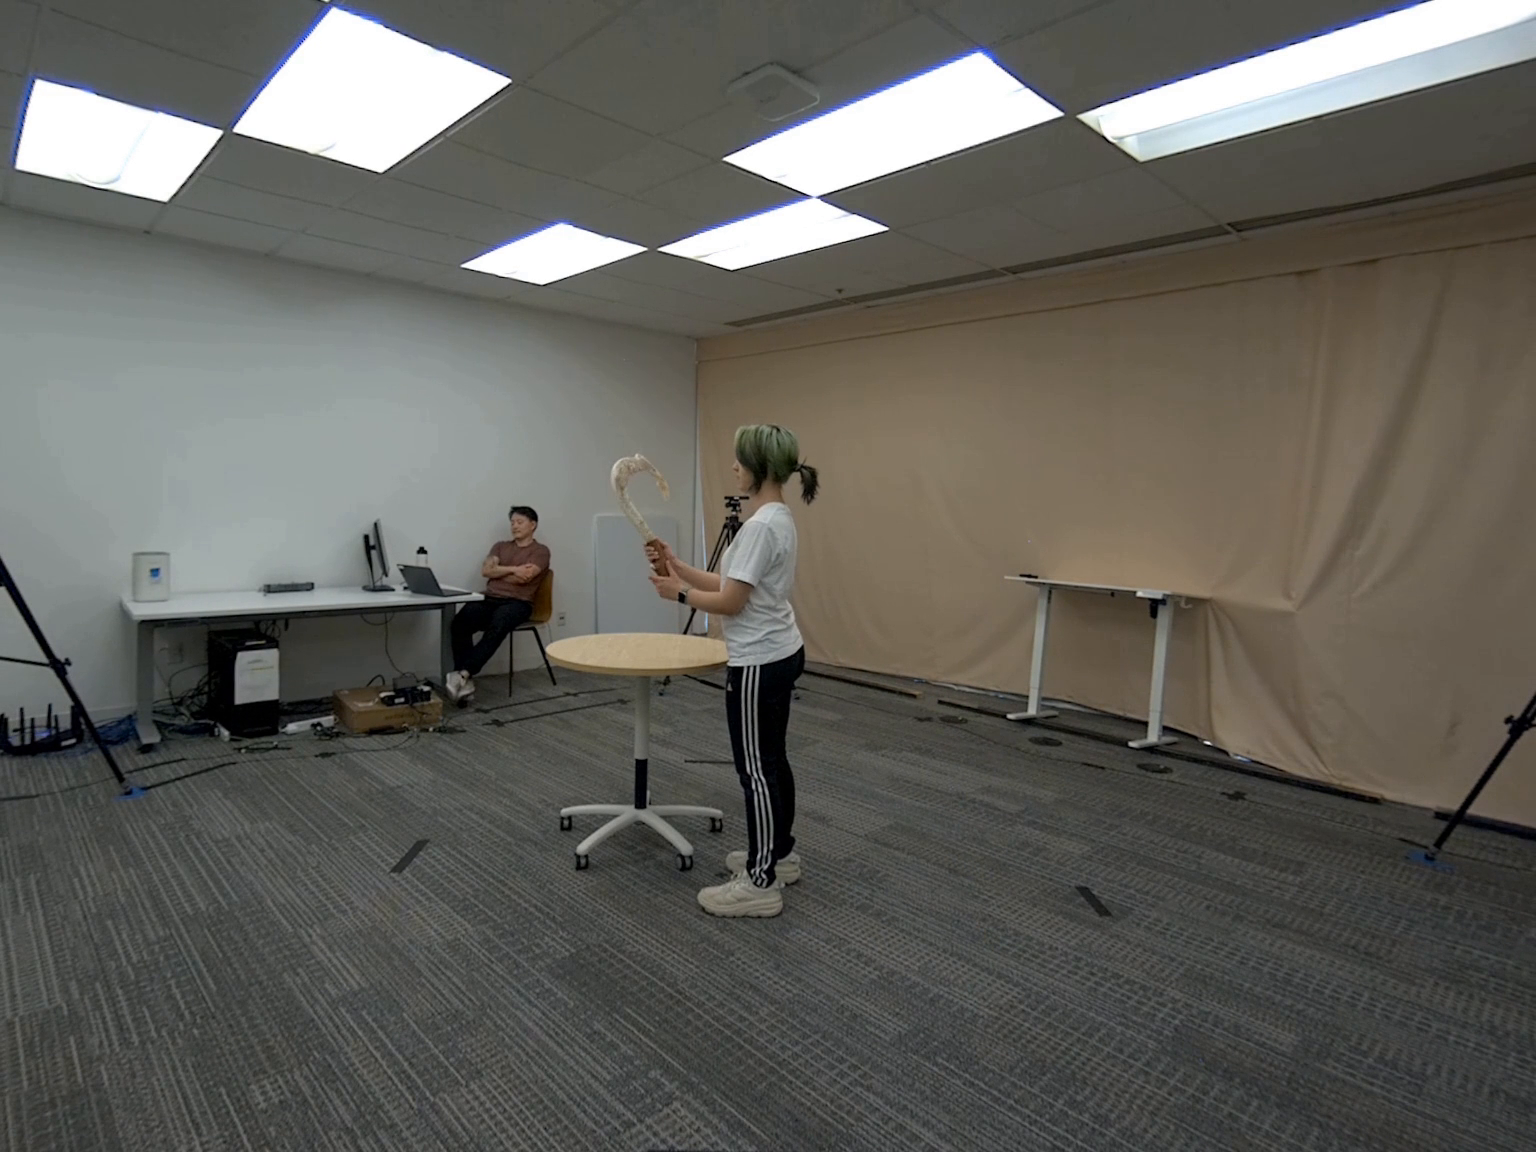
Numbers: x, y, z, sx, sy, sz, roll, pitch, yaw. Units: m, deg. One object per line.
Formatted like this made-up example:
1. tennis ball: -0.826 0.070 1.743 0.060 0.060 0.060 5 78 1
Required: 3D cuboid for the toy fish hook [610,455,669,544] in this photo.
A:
1. toy fish hook: -0.411 -0.186 3.016 0.222 0.505 0.049 -24 4 -34
